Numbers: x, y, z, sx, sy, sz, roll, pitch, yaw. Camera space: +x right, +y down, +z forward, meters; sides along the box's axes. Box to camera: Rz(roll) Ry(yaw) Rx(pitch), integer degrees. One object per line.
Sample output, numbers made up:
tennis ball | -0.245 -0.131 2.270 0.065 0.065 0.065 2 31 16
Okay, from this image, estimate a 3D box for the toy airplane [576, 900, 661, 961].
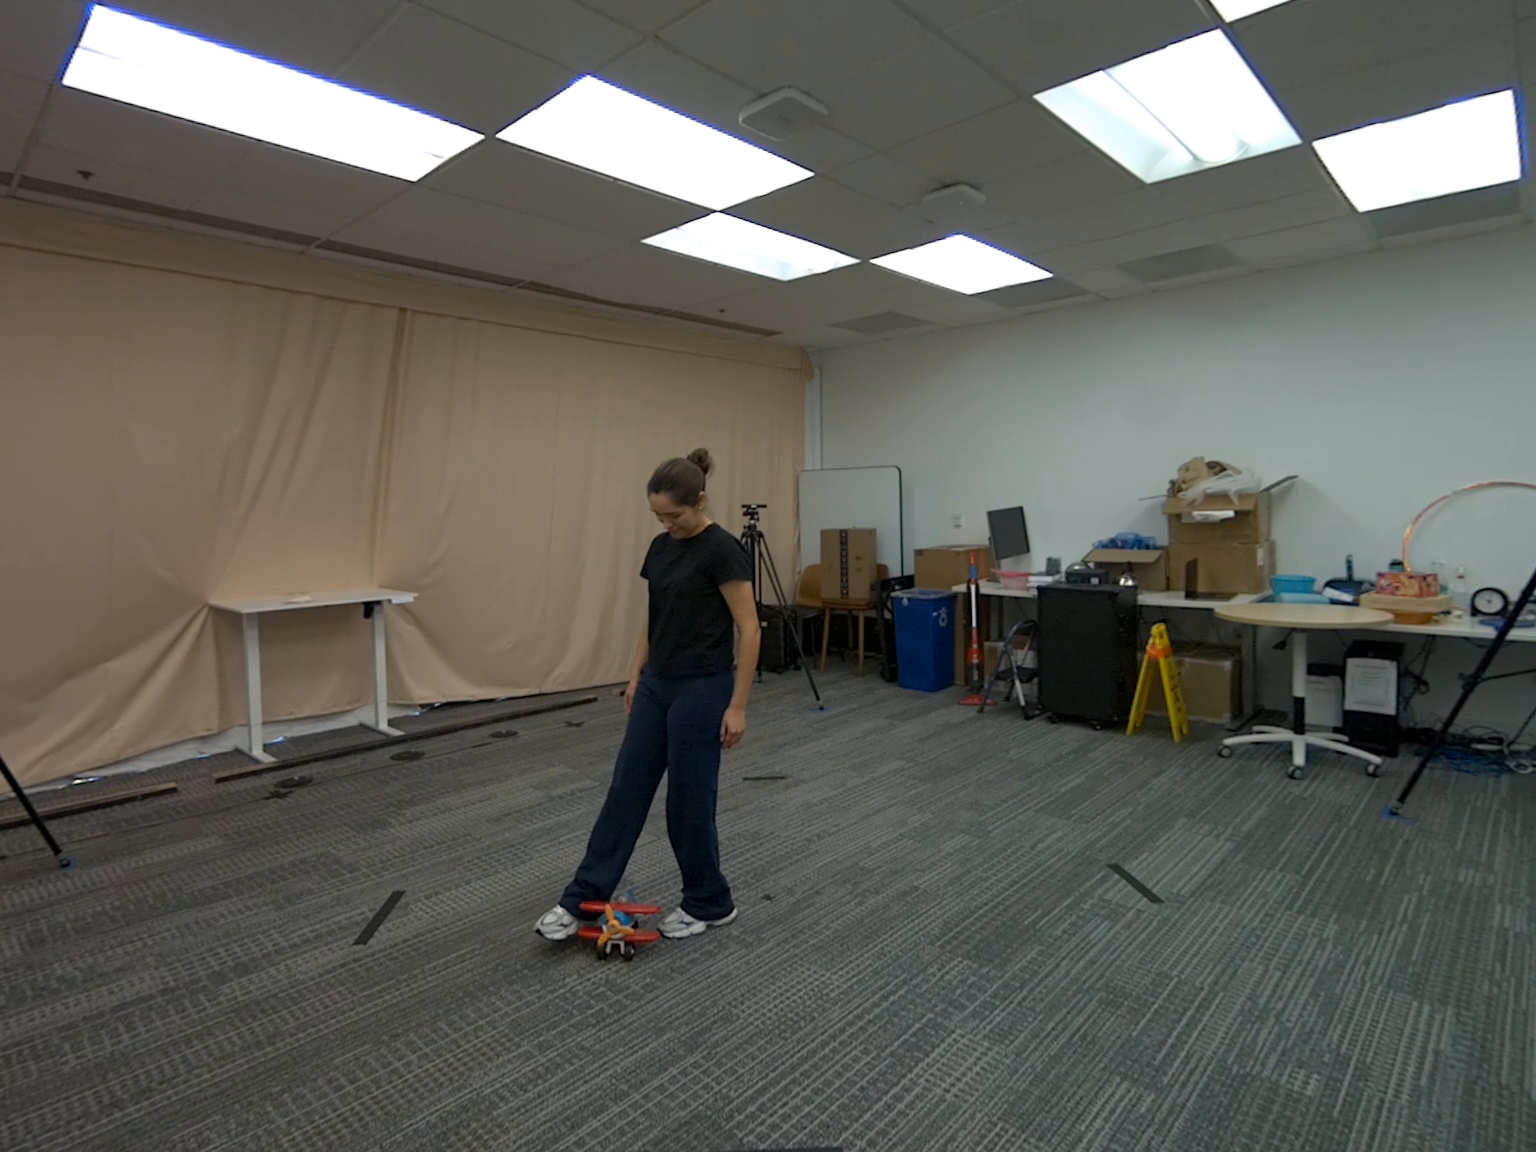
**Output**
toy airplane | -0.468 1.103 2.676 0.245 0.156 0.266 -1 4 -24
